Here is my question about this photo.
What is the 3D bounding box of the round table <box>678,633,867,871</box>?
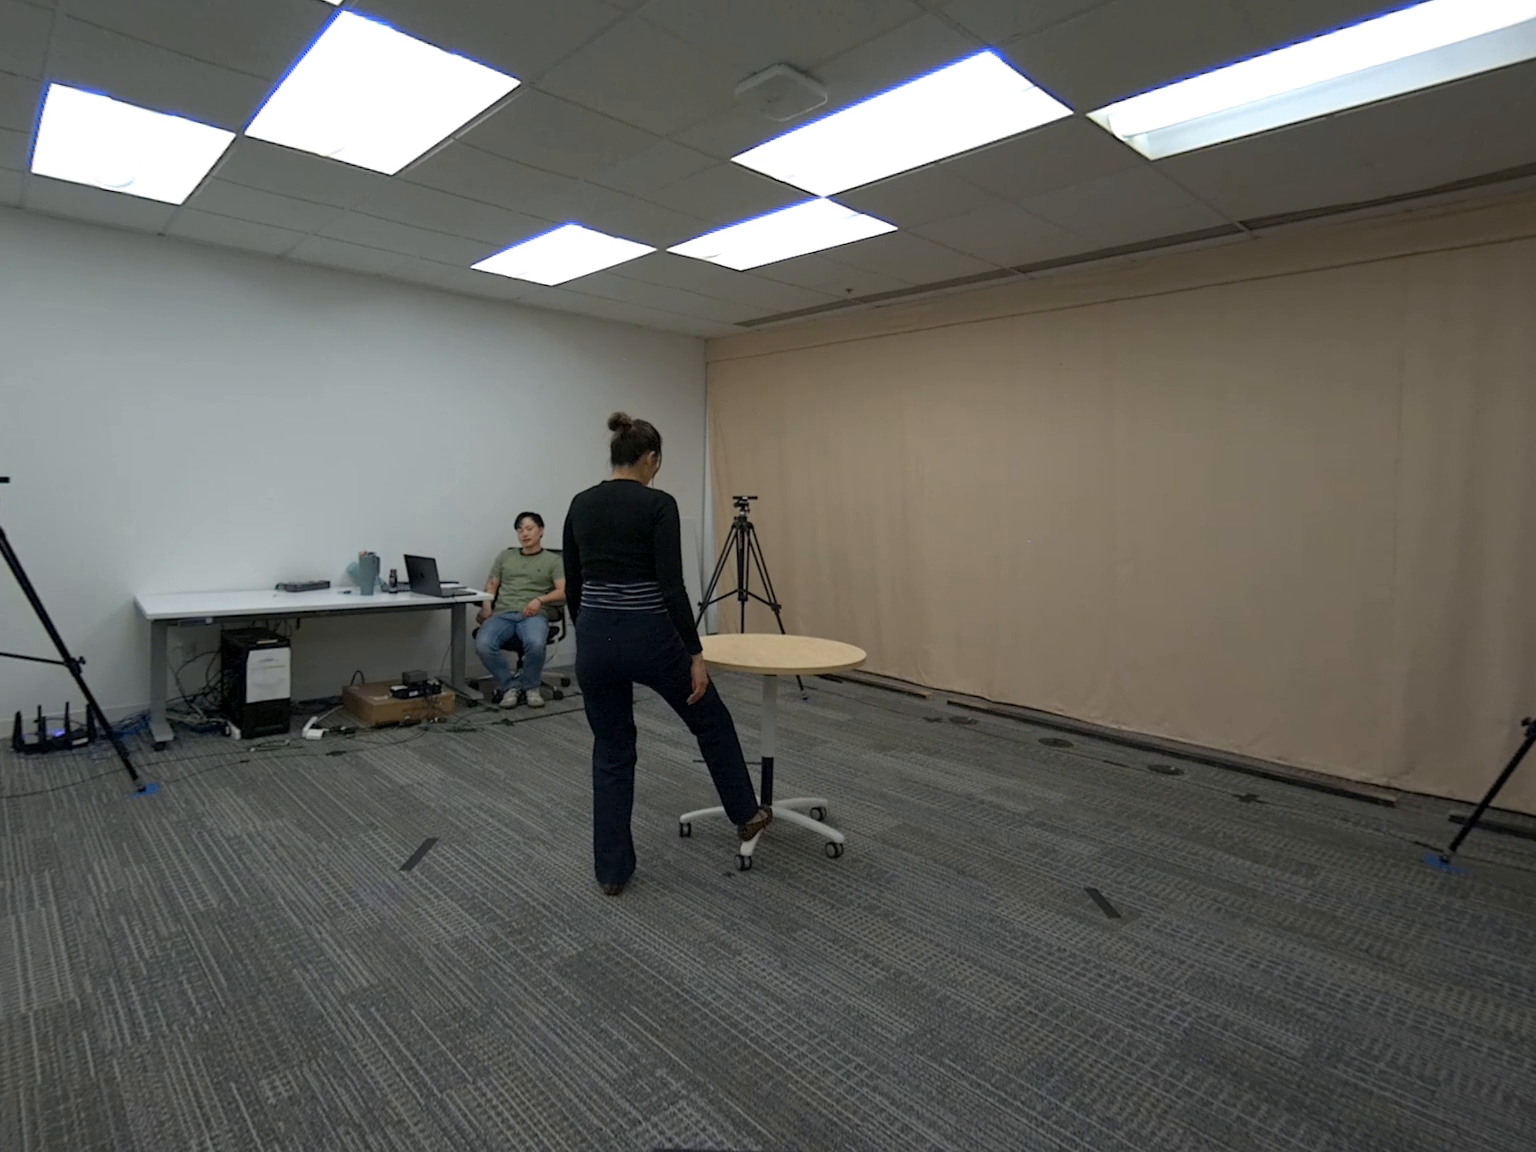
[{"bbox_3d":[-0.011,0.689,3.441,0.763,0.792,0.766,2,4,-2],"label":"round table"}]
